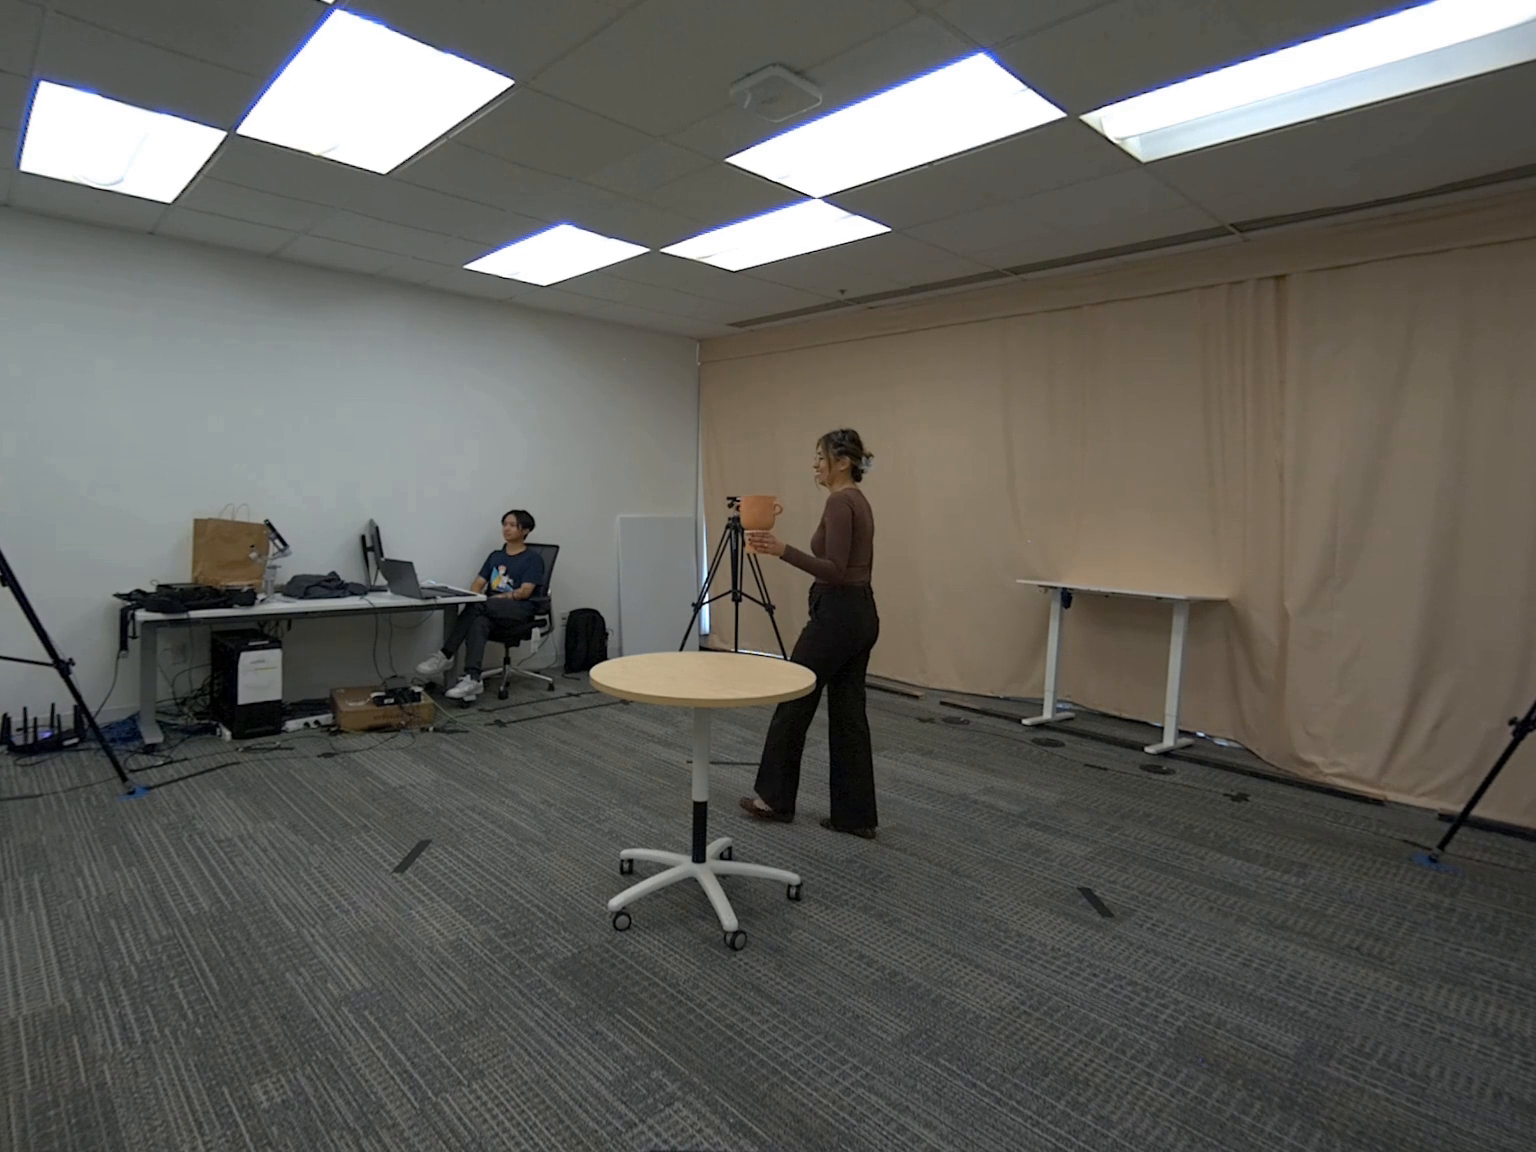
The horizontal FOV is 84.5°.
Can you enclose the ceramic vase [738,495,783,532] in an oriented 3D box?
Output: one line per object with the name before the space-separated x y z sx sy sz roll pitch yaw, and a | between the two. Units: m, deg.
ceramic vase | -0.048 -0.198 3.209 0.132 0.219 0.163 -3 4 -38
